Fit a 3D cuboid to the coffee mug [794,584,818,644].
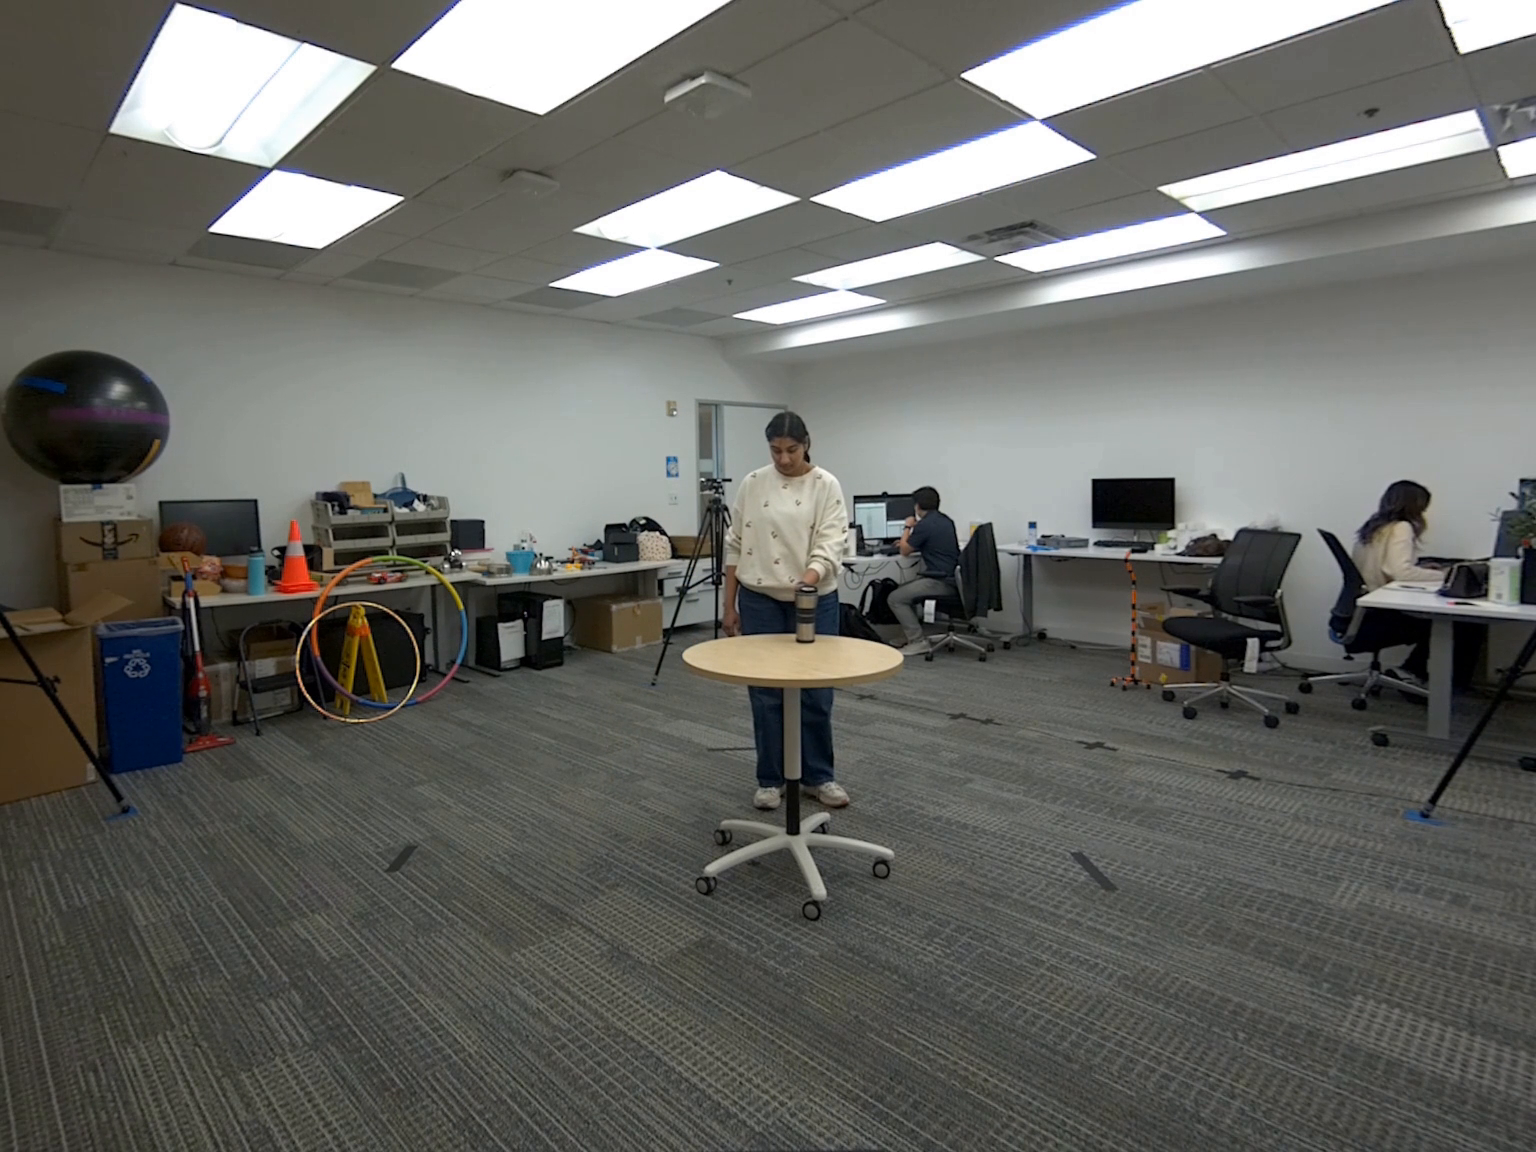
[{"bbox_3d":[0.157,0.149,3.213,0.119,0.202,0.090,-9,4,-41],"label":"coffee mug"}]
